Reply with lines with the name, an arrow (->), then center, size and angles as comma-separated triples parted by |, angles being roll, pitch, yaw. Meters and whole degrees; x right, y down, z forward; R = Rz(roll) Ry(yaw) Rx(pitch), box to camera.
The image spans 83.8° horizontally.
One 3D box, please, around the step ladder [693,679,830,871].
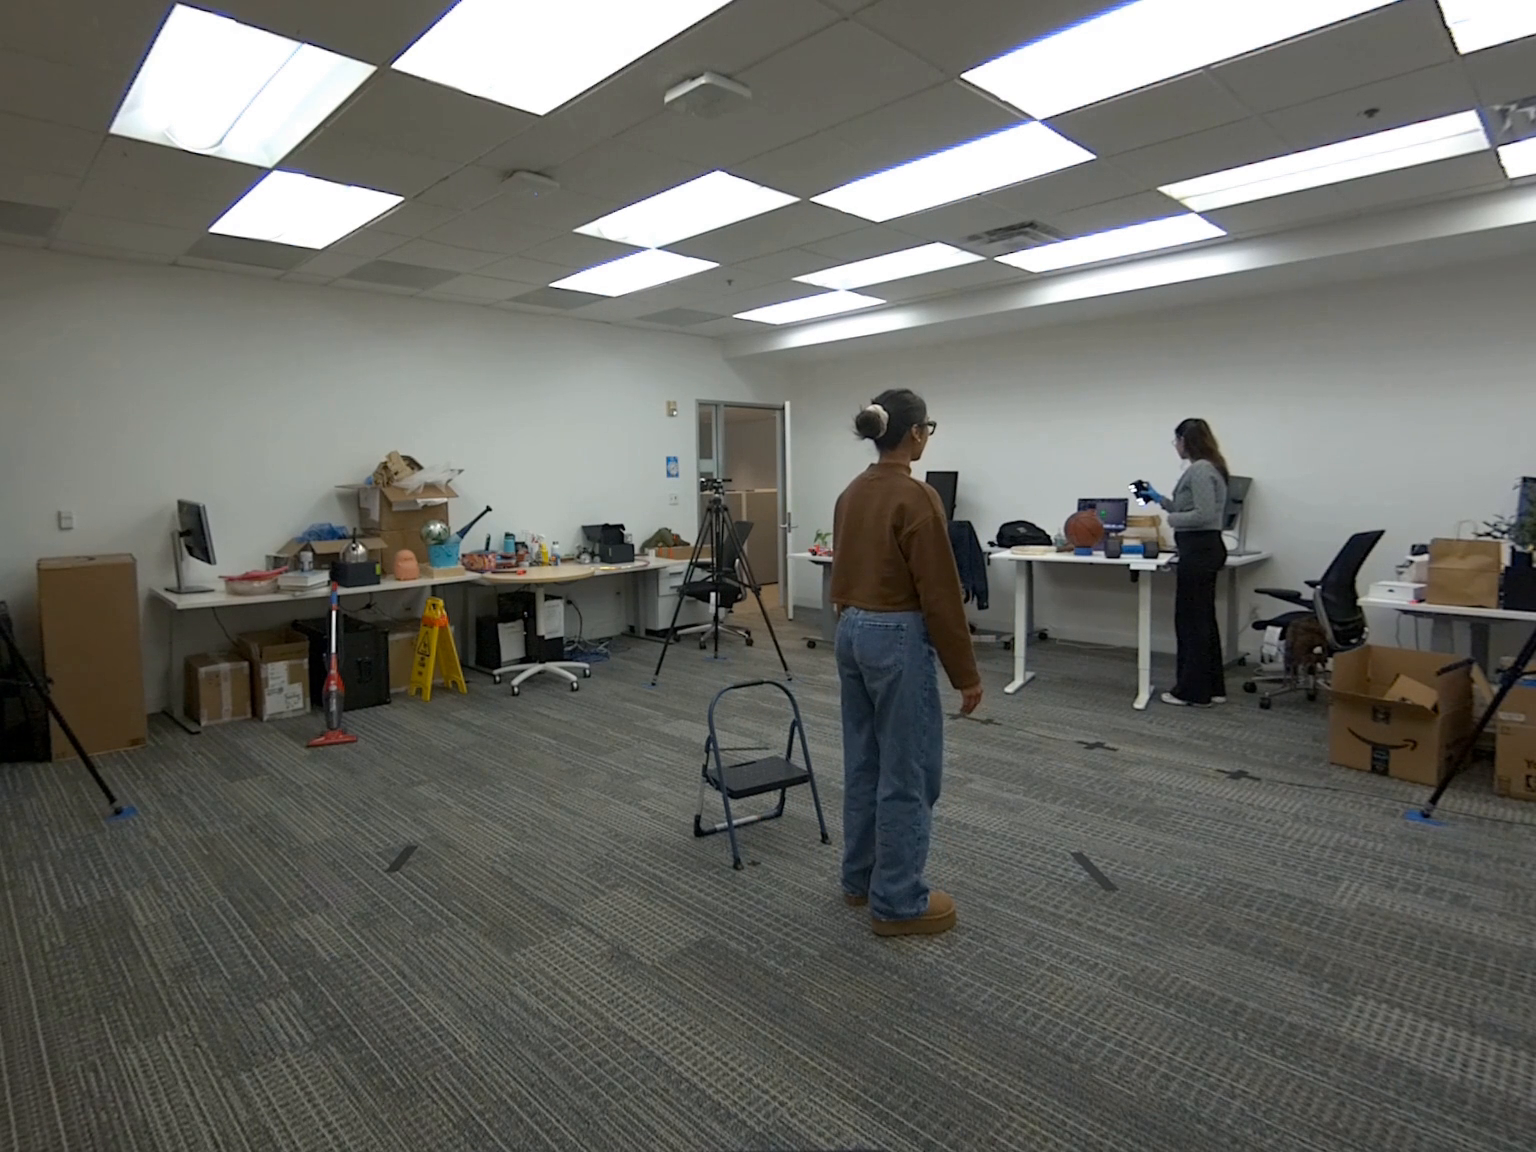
step ladder -> -0.030, 0.717, 3.292 | 0.420, 0.604, 0.359 | -4, 5, -33
